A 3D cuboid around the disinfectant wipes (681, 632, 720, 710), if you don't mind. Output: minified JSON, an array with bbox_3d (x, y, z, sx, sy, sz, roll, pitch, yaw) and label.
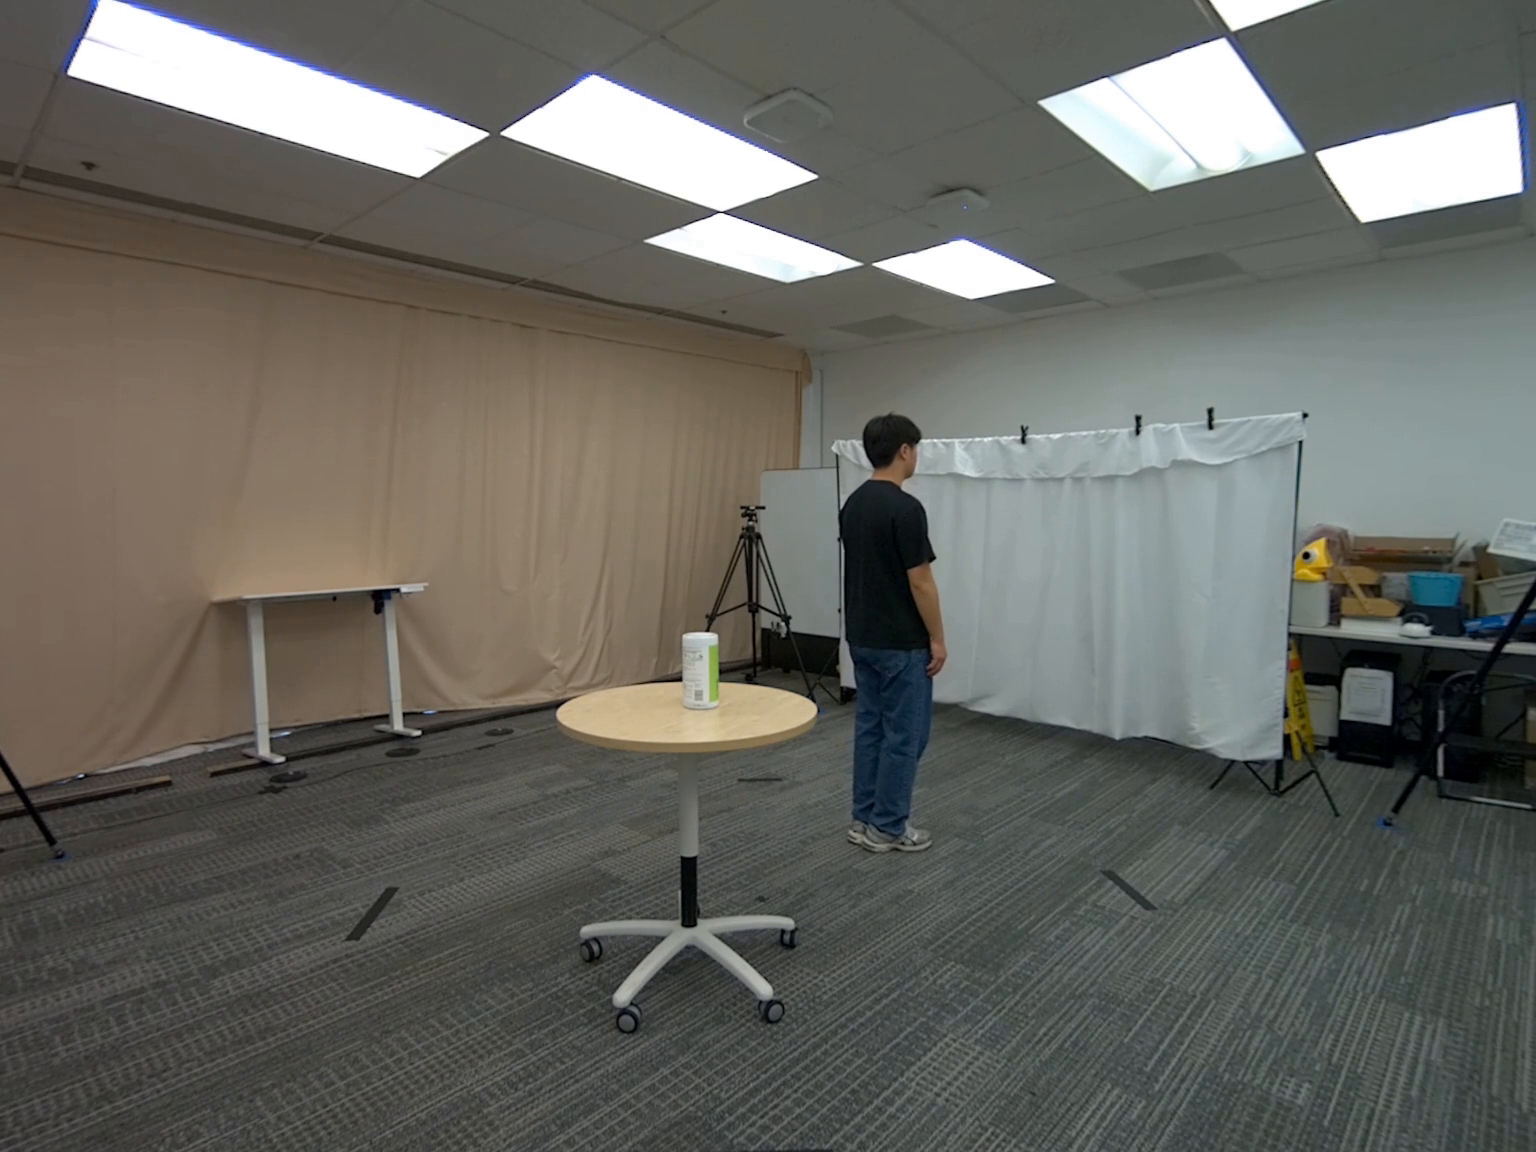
[{"bbox_3d":[-0.198,0.285,2.505,0.118,0.217,0.118,0,2,-2],"label":"disinfectant wipes"}]
